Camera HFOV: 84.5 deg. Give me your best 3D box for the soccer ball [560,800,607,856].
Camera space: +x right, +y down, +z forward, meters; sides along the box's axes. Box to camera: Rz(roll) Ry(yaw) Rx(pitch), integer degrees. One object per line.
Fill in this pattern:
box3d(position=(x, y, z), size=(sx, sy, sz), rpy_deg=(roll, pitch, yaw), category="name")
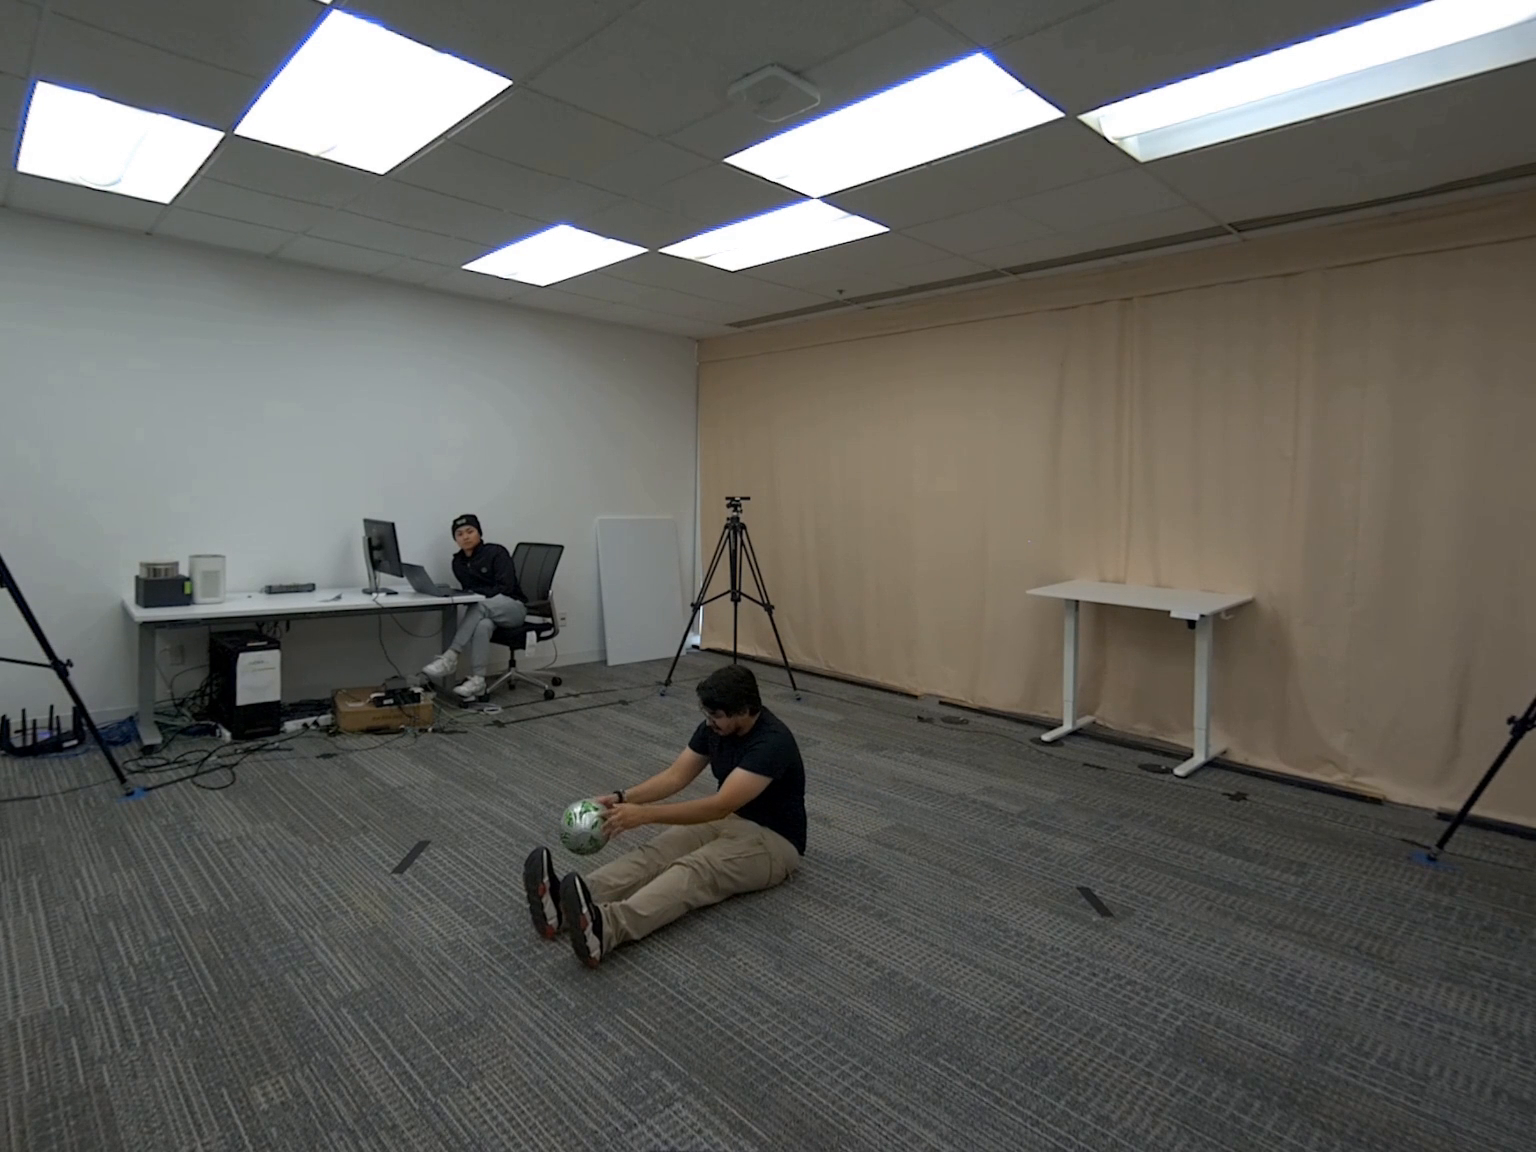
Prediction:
box3d(position=(-0.631, 0.880, 2.938), size=(0.187, 0.187, 0.188), rpy_deg=(1, 5, -1), category="soccer ball")
